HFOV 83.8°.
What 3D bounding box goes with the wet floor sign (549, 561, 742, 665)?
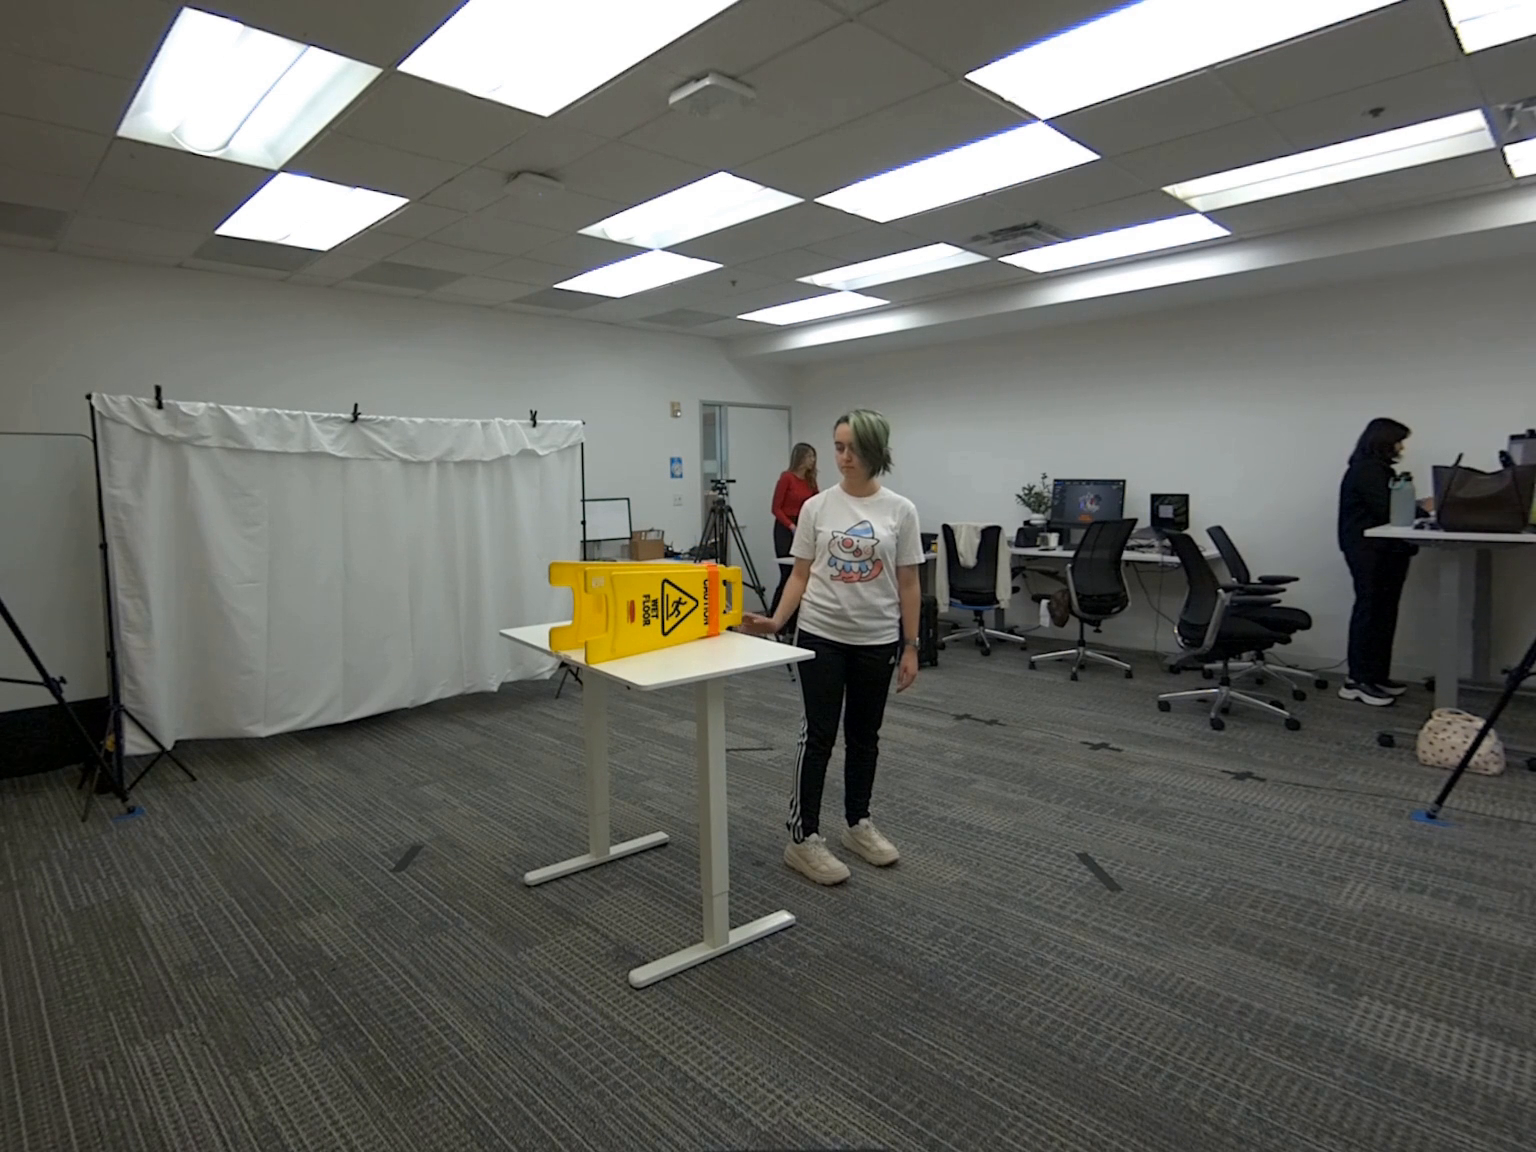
[{"bbox_3d":[-0.343,0.088,2.724,0.629,0.281,0.298,-4,6,-37],"label":"wet floor sign"}]
